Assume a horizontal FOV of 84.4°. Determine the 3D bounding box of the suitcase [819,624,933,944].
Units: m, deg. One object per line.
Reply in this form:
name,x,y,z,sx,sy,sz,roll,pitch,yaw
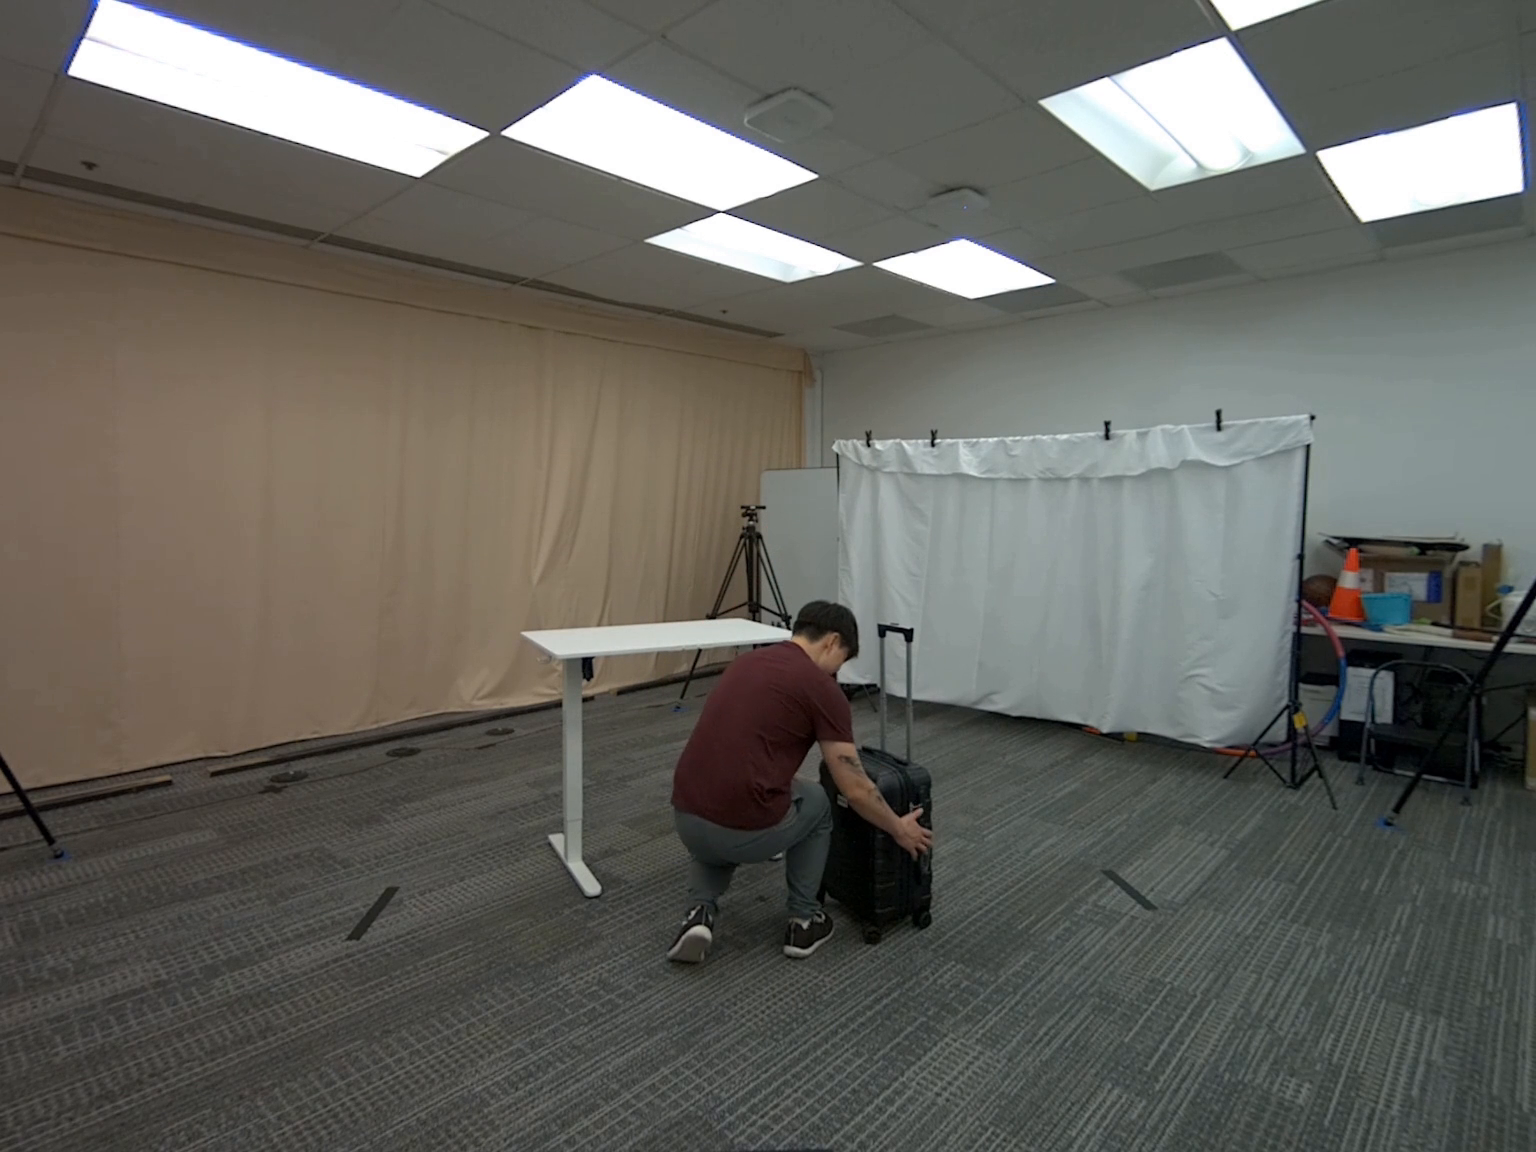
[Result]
suitcase,0.366,0.674,2.845,0.251,0.976,0.394,-3,4,-27
